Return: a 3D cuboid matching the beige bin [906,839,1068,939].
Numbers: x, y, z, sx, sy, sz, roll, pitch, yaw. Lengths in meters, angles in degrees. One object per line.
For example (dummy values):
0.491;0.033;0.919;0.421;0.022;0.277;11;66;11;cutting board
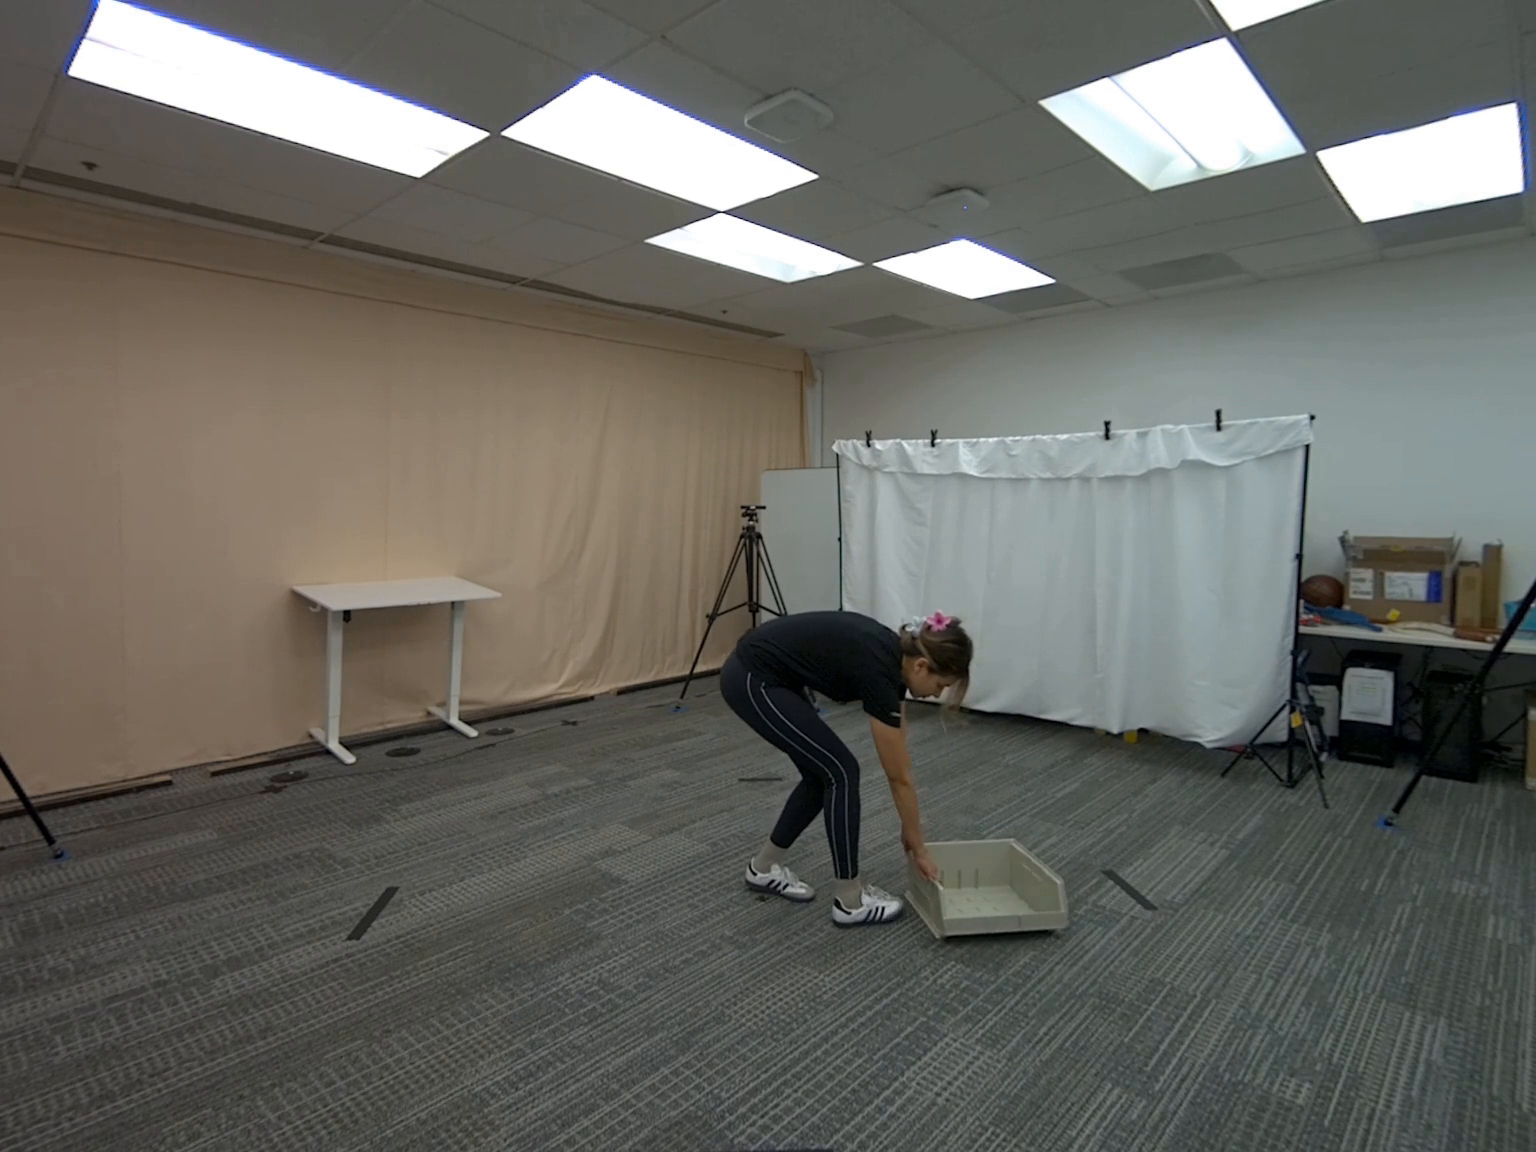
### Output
0.728;1.067;2.844;0.419;0.188;0.381;-2;4;-9;beige bin
